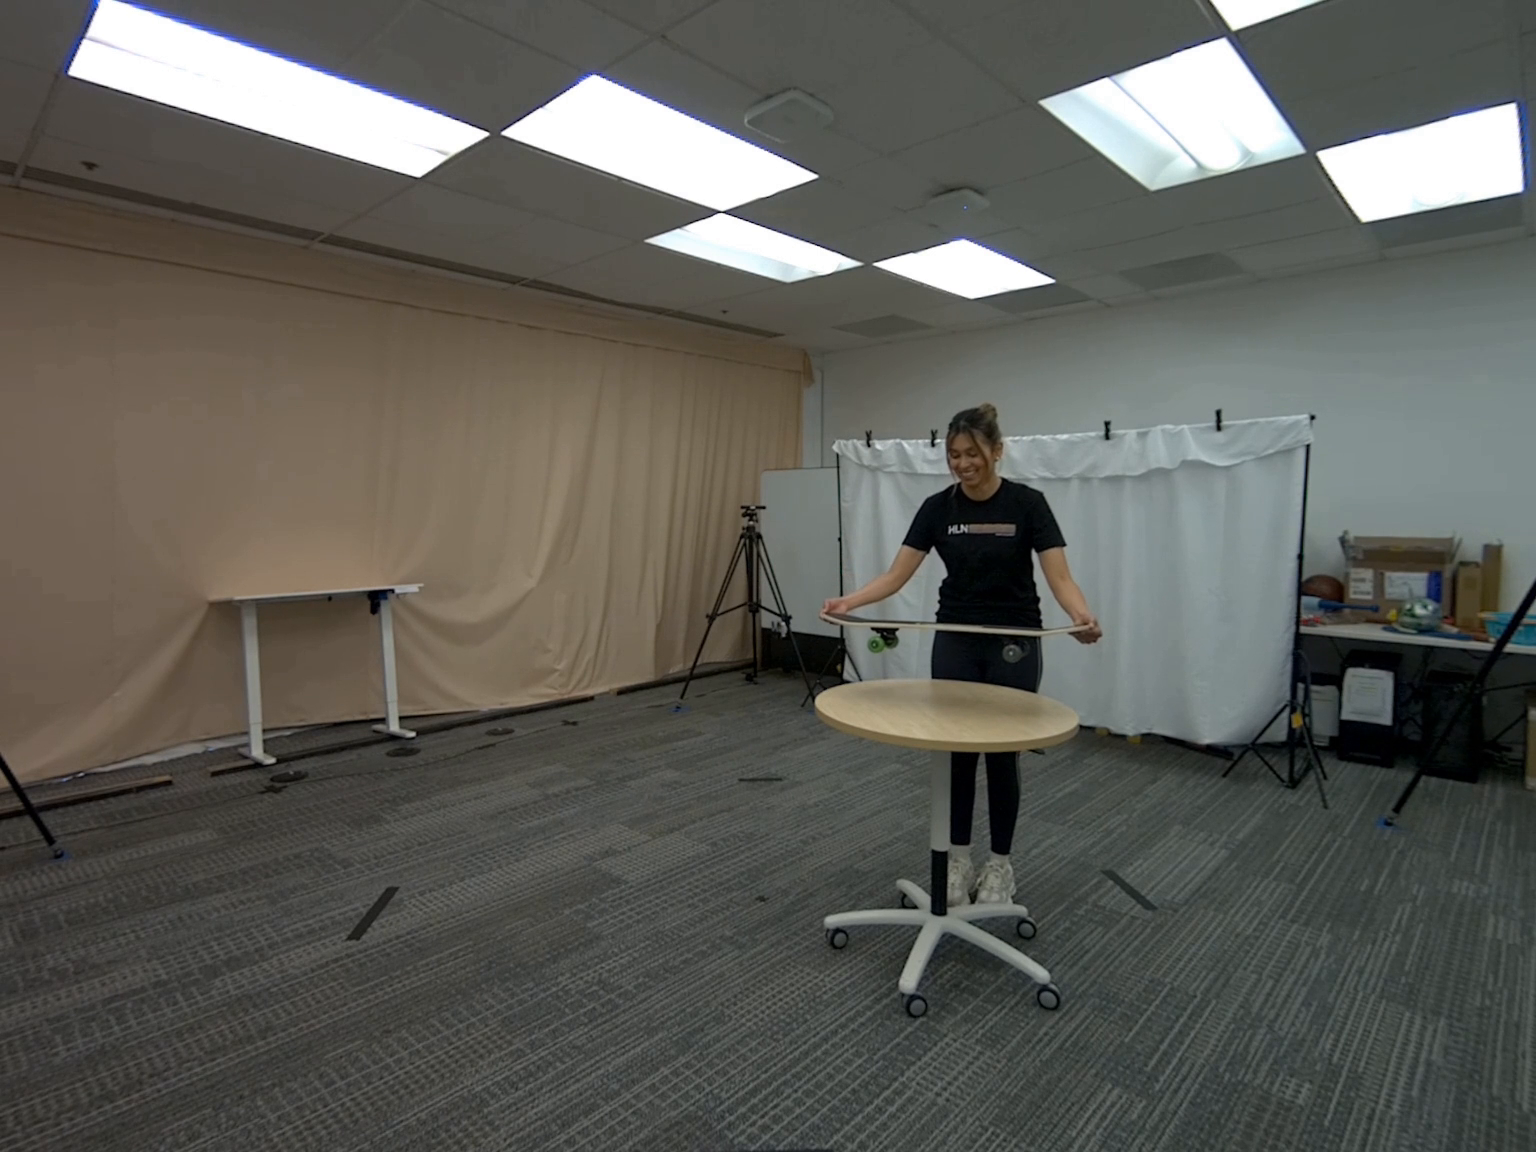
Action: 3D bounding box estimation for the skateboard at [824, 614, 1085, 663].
[{"bbox_3d":[0.555,0.179,2.569,0.808,0.110,0.188,2,3,31],"label":"skateboard"}]
